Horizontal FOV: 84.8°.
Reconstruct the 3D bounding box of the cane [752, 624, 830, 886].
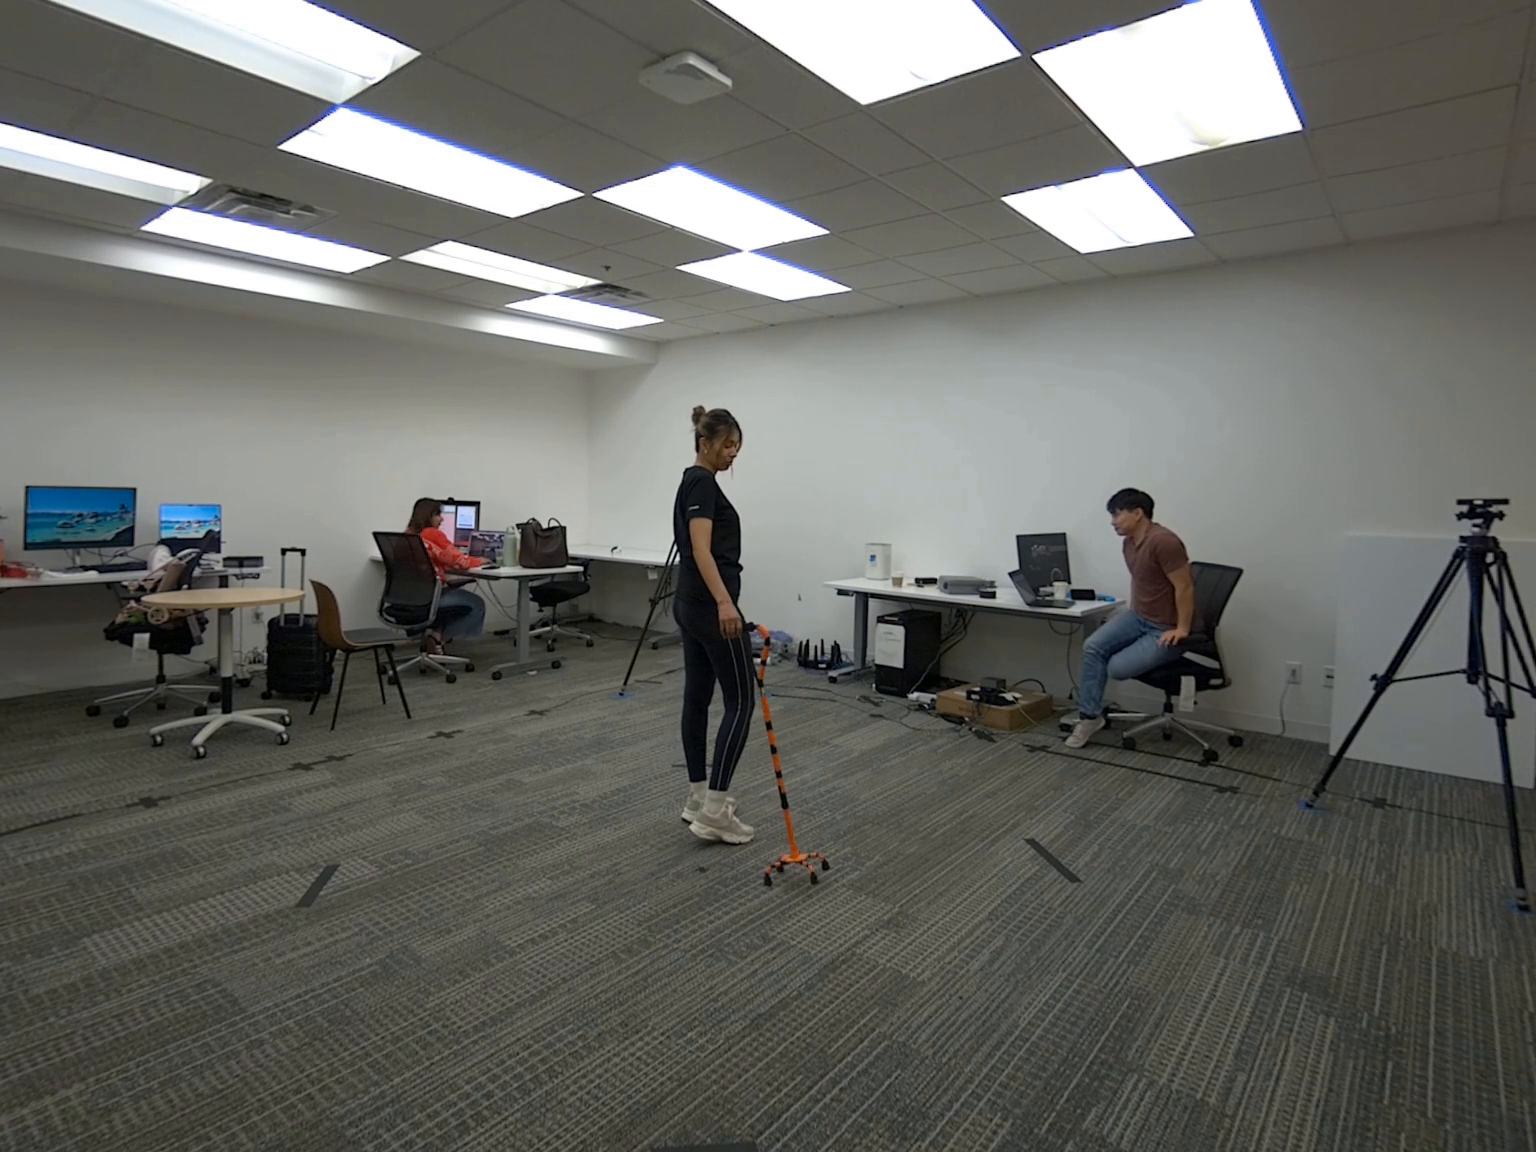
[{"bbox_3d":[0.016,0.619,3.044,0.210,0.912,0.148,-12,-4,25],"label":"cane"}]
